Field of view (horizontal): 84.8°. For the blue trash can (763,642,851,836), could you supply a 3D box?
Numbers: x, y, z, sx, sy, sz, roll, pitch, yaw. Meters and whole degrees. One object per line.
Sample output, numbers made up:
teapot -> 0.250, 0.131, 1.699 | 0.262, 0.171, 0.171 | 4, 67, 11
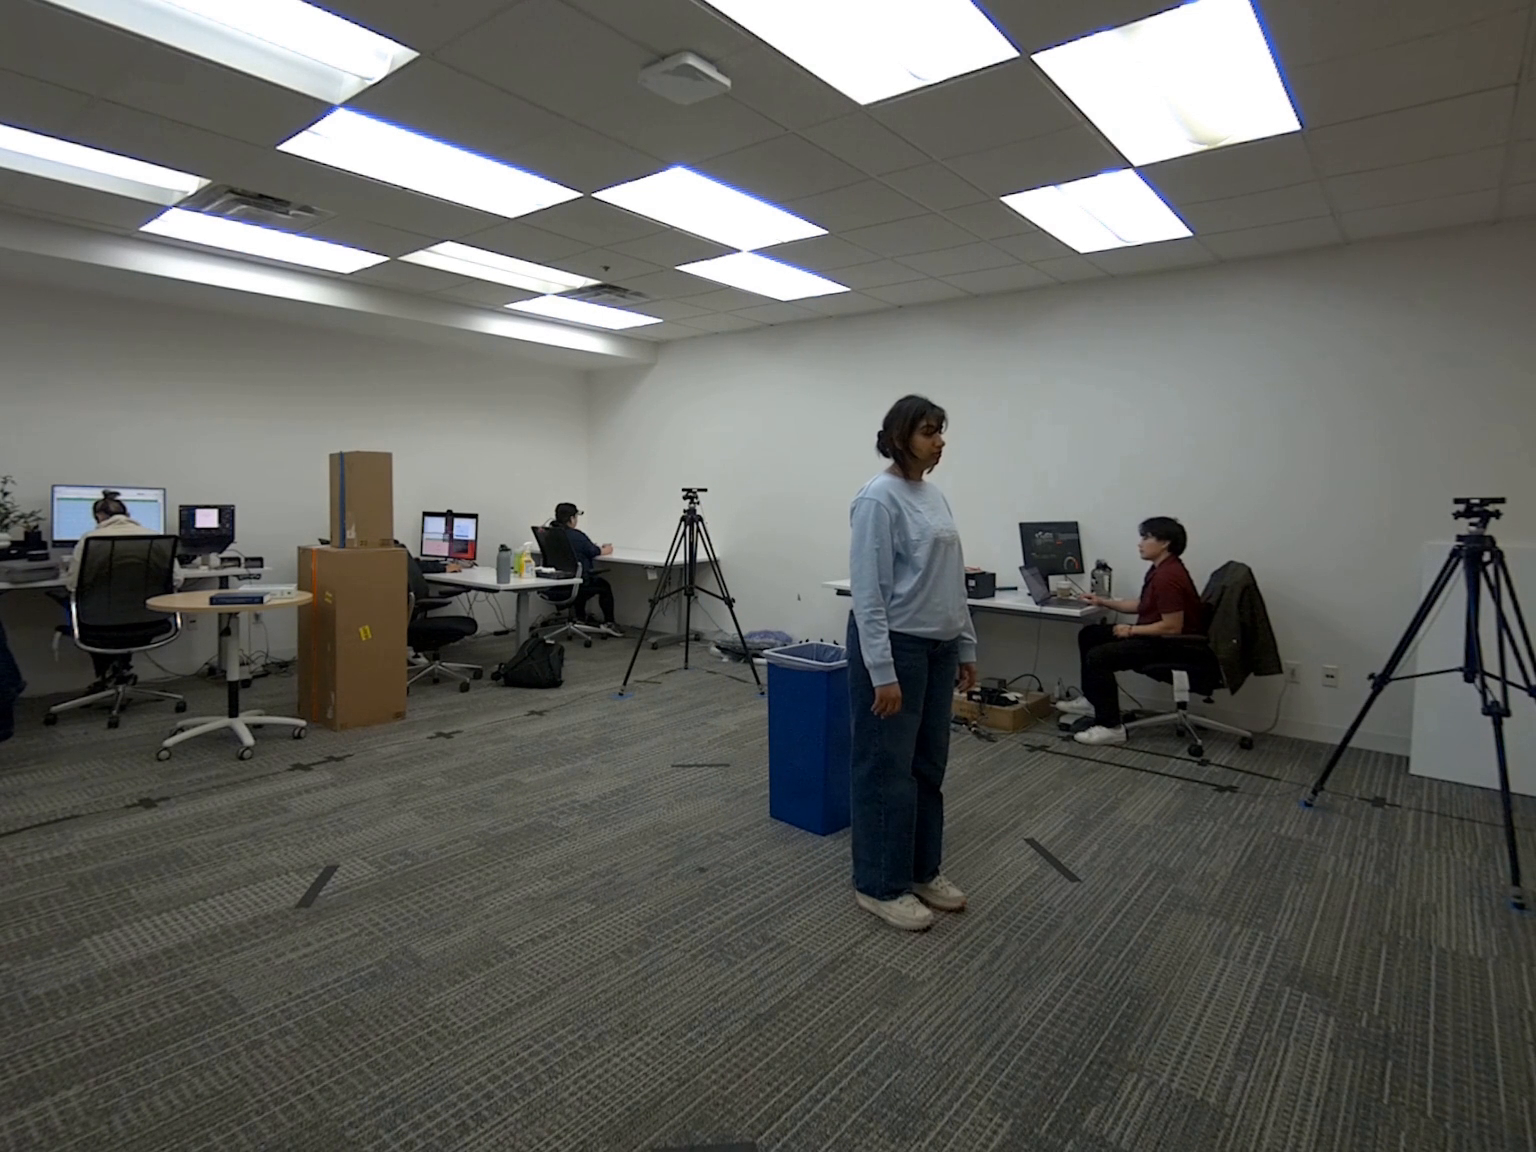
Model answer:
blue trash can -> 0.204, 0.671, 3.608 | 0.391, 0.711, 0.363 | 4, 5, 43
